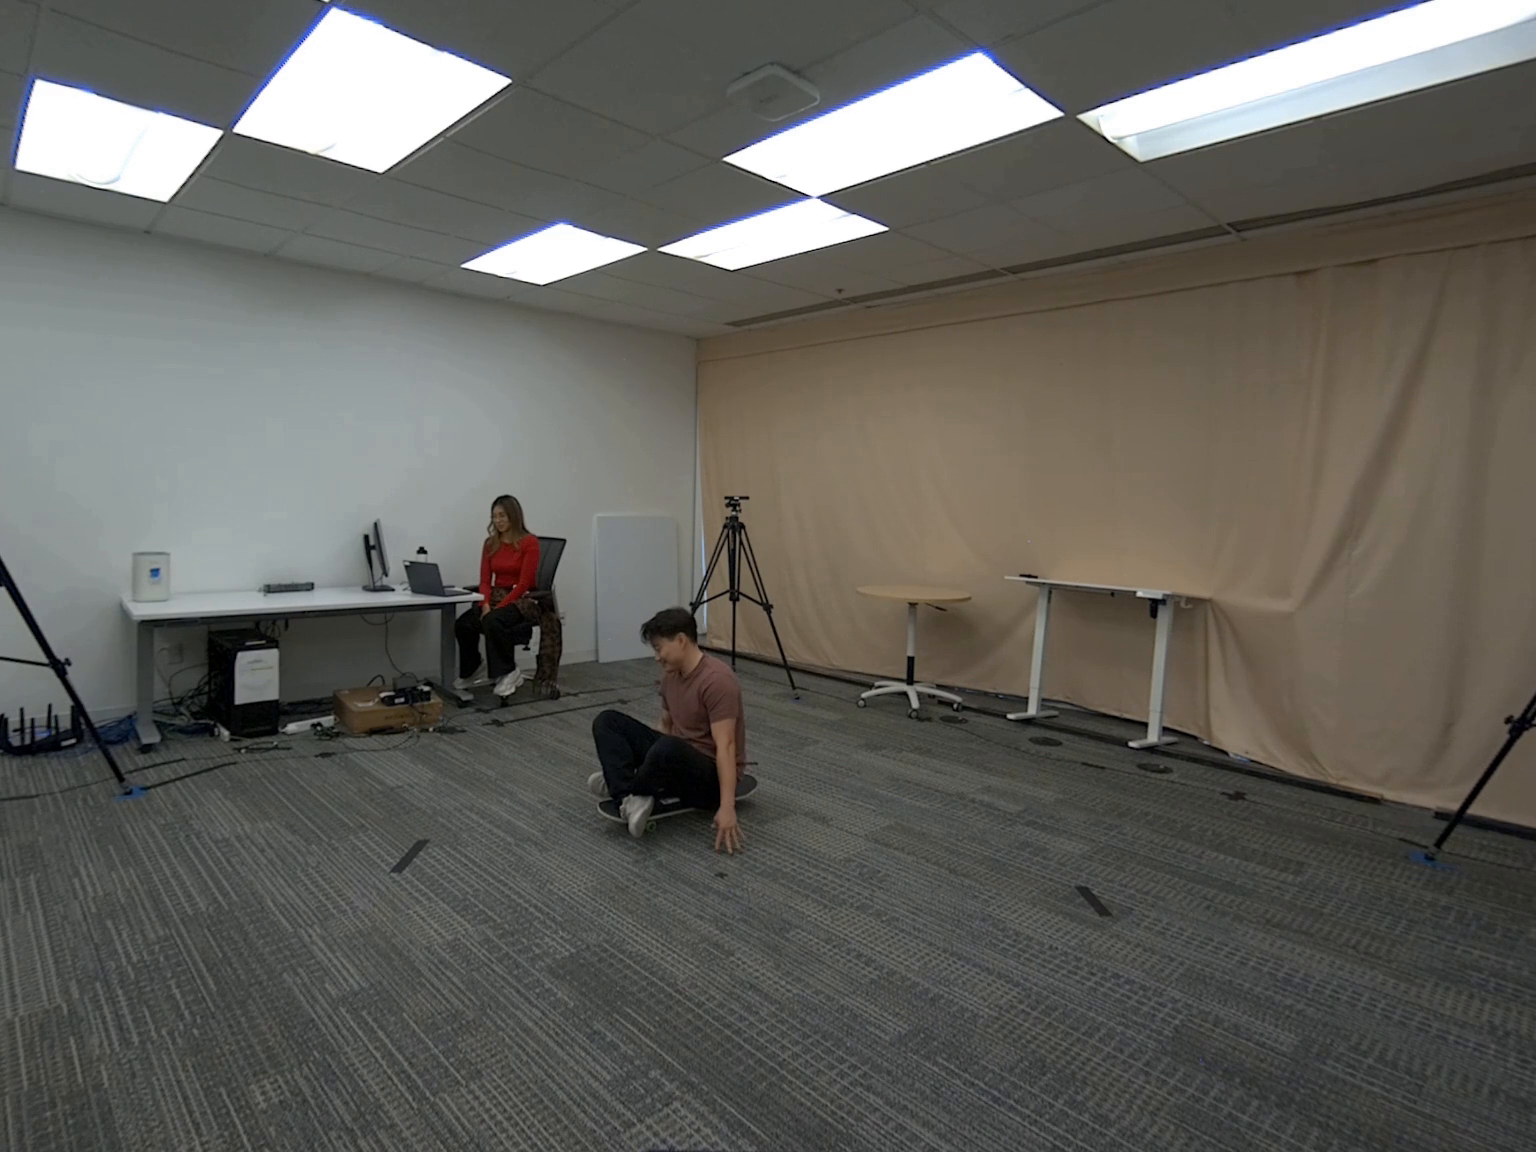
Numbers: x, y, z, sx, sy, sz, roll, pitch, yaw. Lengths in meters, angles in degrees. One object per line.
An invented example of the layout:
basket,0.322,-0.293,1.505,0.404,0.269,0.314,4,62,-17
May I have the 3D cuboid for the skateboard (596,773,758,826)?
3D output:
skateboard,-0.406,0.991,3.681,0.769,0.109,0.199,1,12,-30
